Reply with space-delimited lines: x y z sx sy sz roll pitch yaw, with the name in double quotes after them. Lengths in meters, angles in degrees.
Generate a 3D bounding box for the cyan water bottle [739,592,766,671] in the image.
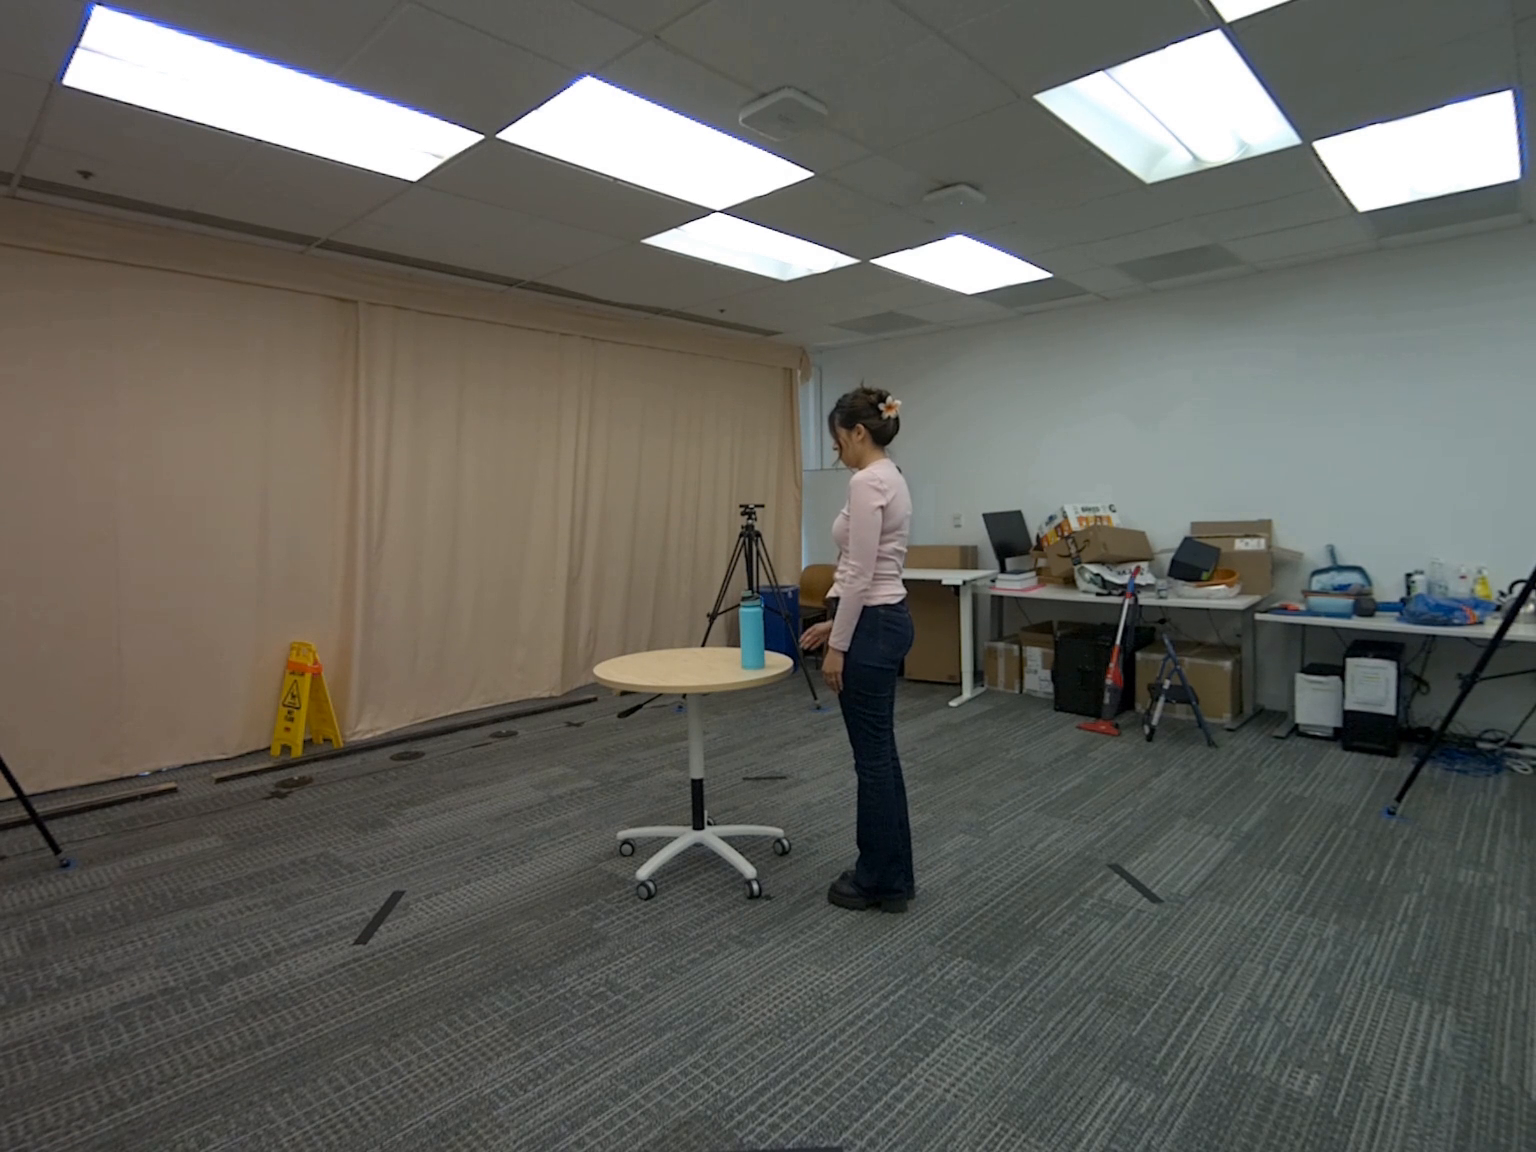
-0.054 0.205 3.136 0.092 0.282 0.093 -1 6 -2 "cyan water bottle"
